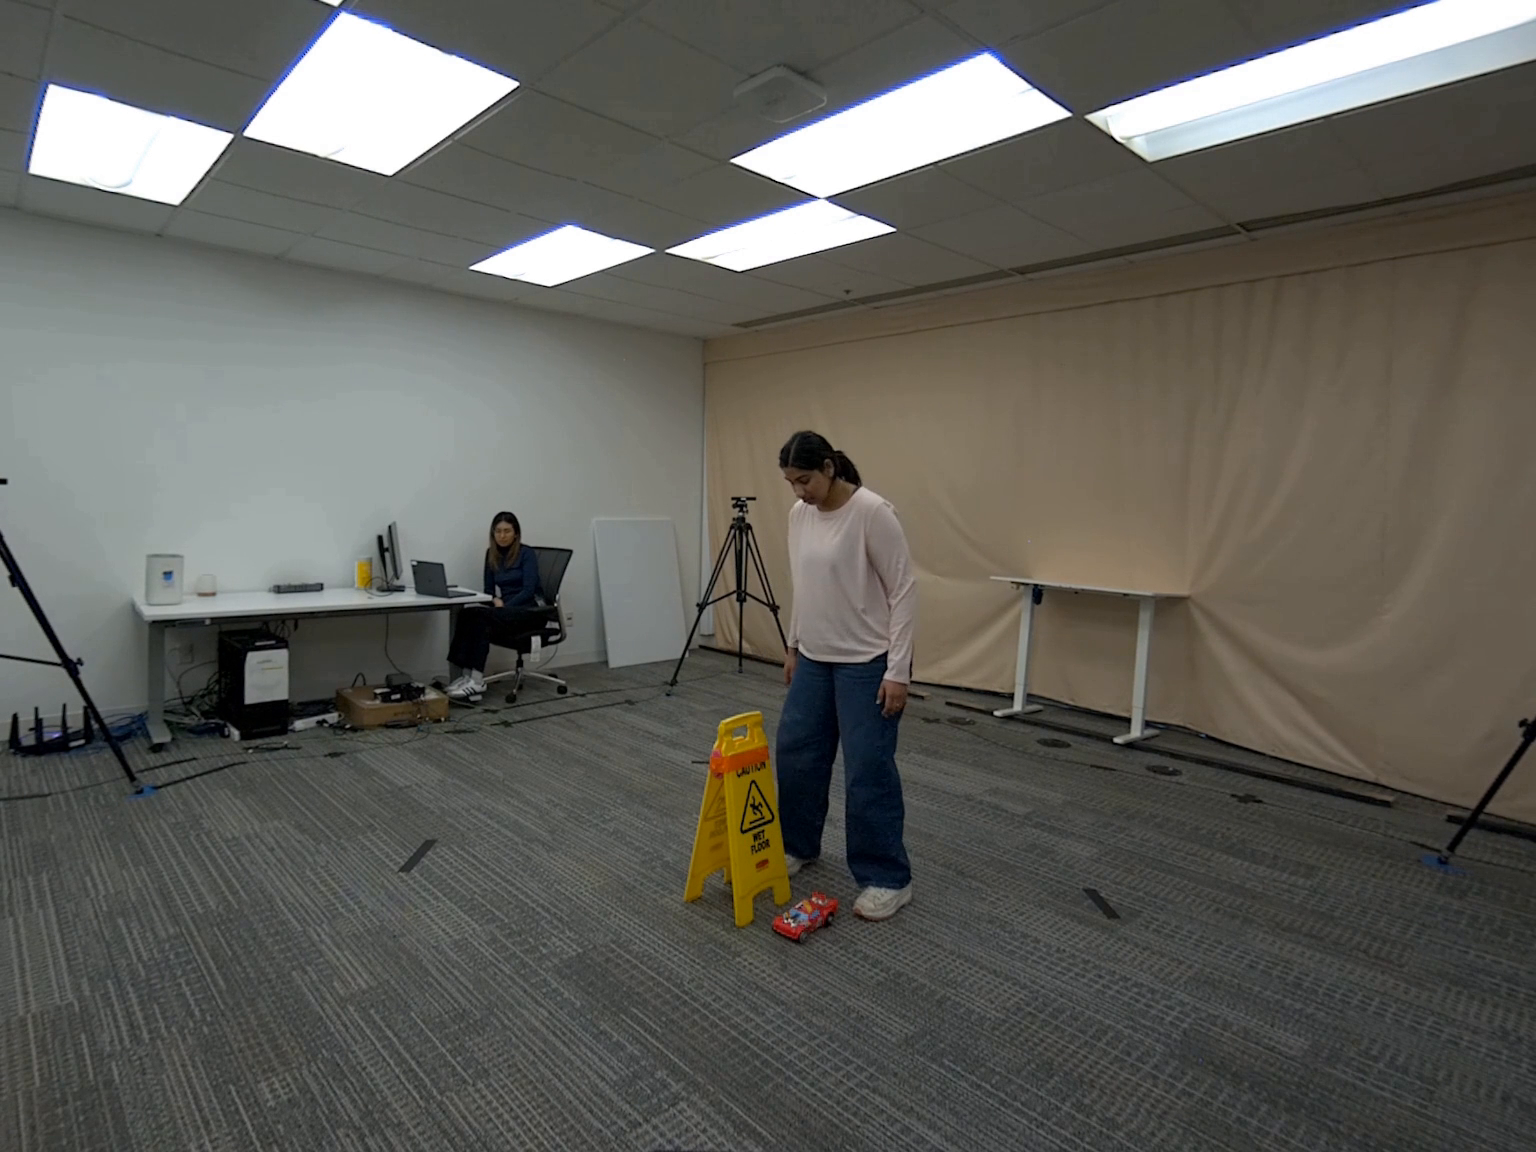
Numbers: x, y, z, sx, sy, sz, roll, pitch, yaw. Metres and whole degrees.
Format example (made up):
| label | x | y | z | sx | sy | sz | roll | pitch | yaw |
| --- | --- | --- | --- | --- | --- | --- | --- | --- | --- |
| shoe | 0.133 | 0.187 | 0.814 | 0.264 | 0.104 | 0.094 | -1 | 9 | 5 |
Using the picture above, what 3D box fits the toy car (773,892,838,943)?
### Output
| label | x | y | z | sx | sy | sz | roll | pitch | yaw |
| --- | --- | --- | --- | --- | --- | --- | --- | --- | --- |
| toy car | 0.117 | 1.118 | 2.740 | 0.133 | 0.082 | 0.250 | 5 | 16 | 40 |
